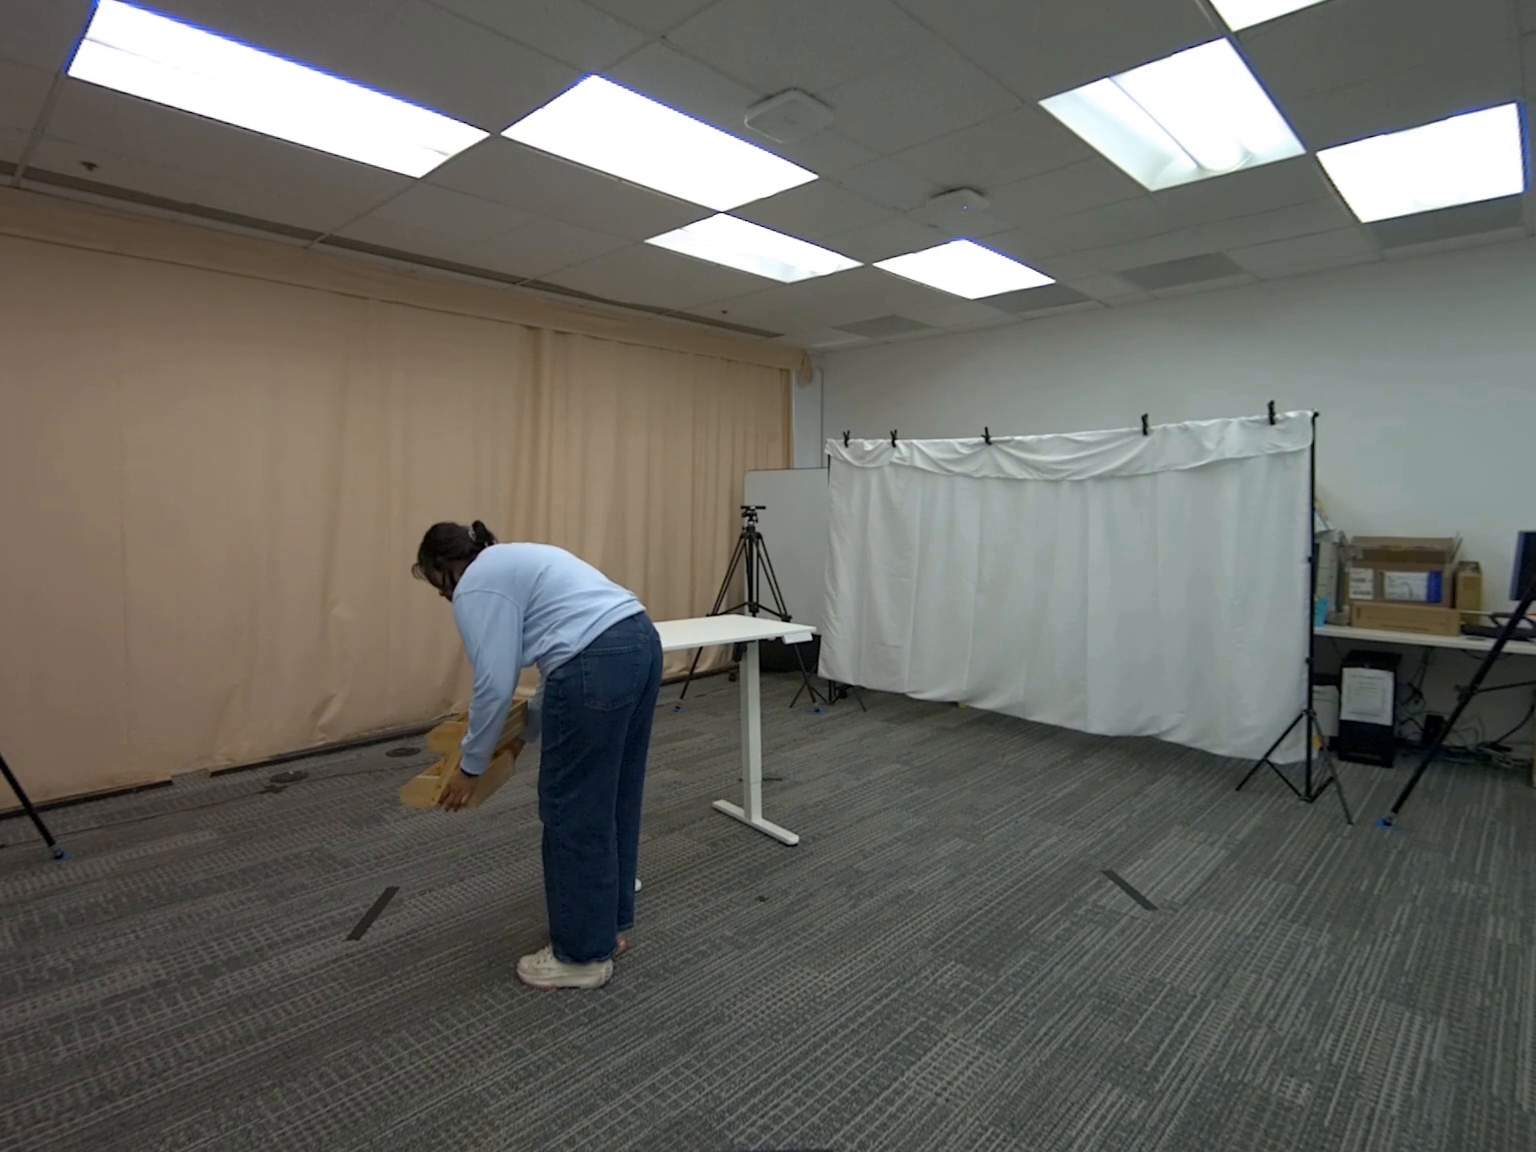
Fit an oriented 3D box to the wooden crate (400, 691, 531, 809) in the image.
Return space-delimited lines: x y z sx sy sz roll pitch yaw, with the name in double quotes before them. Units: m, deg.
"wooden crate" -0.950 0.542 2.649 0.304 0.272 0.323 2 4 6
